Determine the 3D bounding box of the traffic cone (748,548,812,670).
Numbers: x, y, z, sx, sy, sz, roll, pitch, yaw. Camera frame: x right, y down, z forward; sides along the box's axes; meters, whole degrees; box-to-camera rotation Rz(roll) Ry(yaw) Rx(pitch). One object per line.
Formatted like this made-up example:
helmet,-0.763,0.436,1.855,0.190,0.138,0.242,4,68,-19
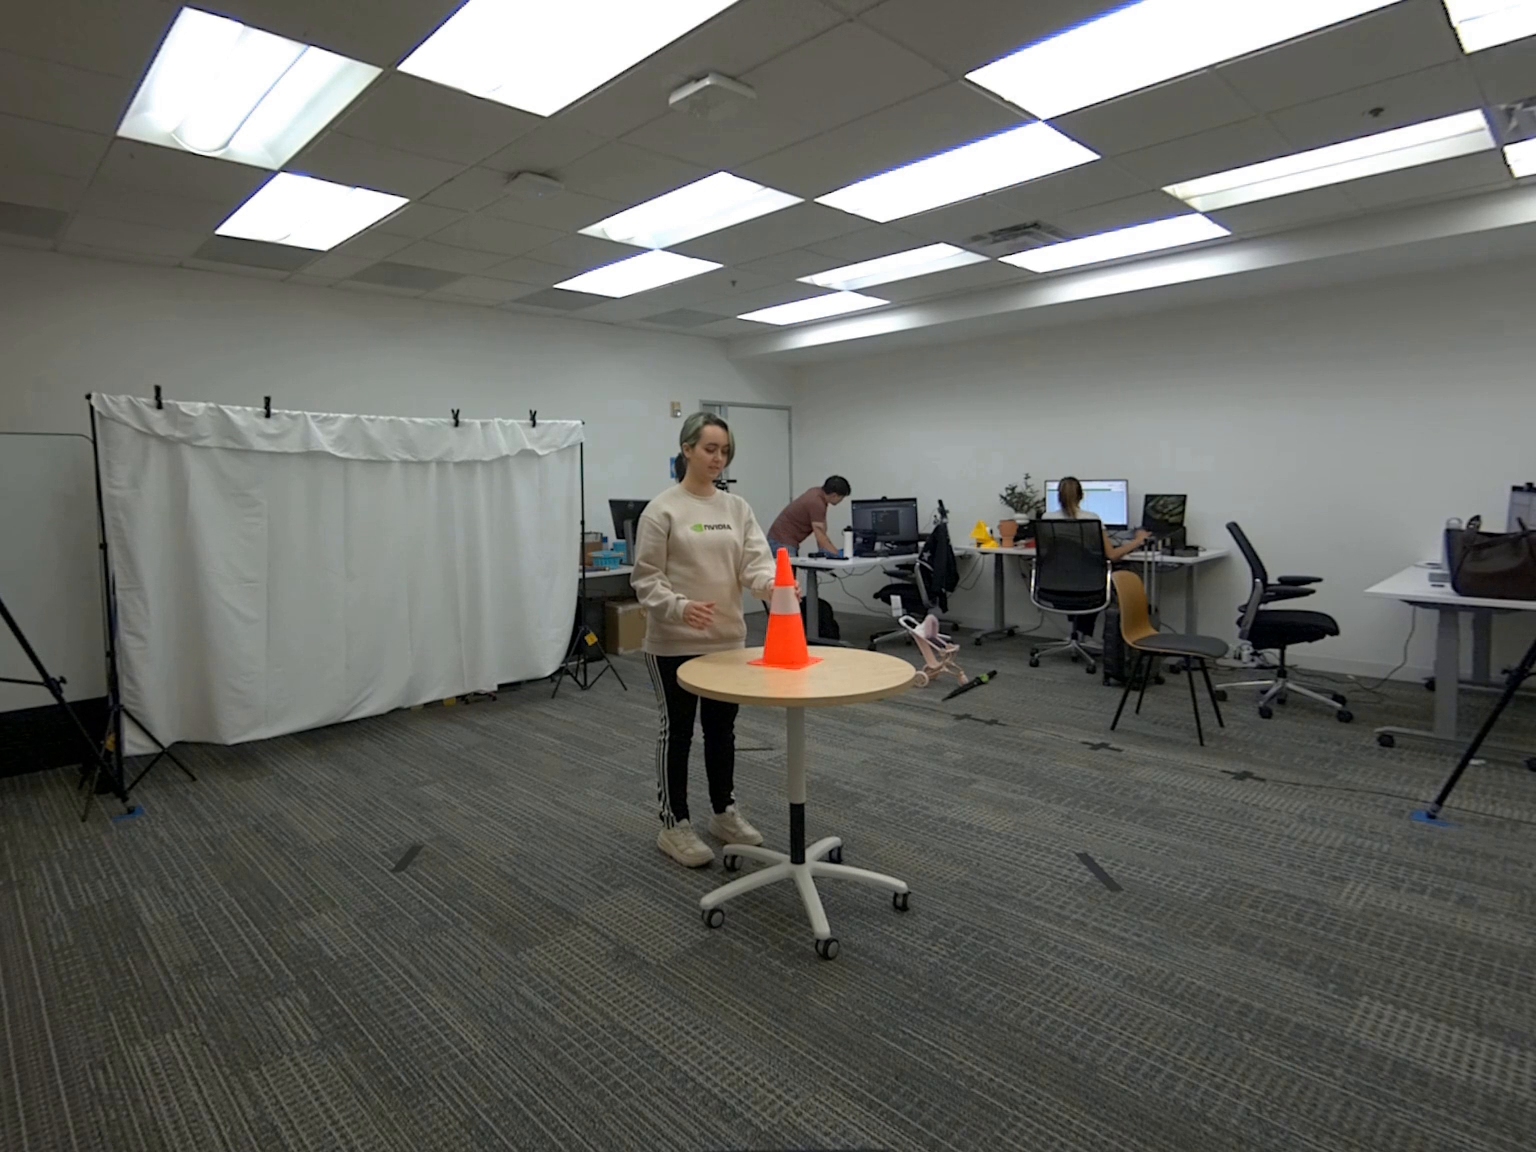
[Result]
traffic cone,0.056,0.098,2.866,0.208,0.383,0.200,-2,3,29
